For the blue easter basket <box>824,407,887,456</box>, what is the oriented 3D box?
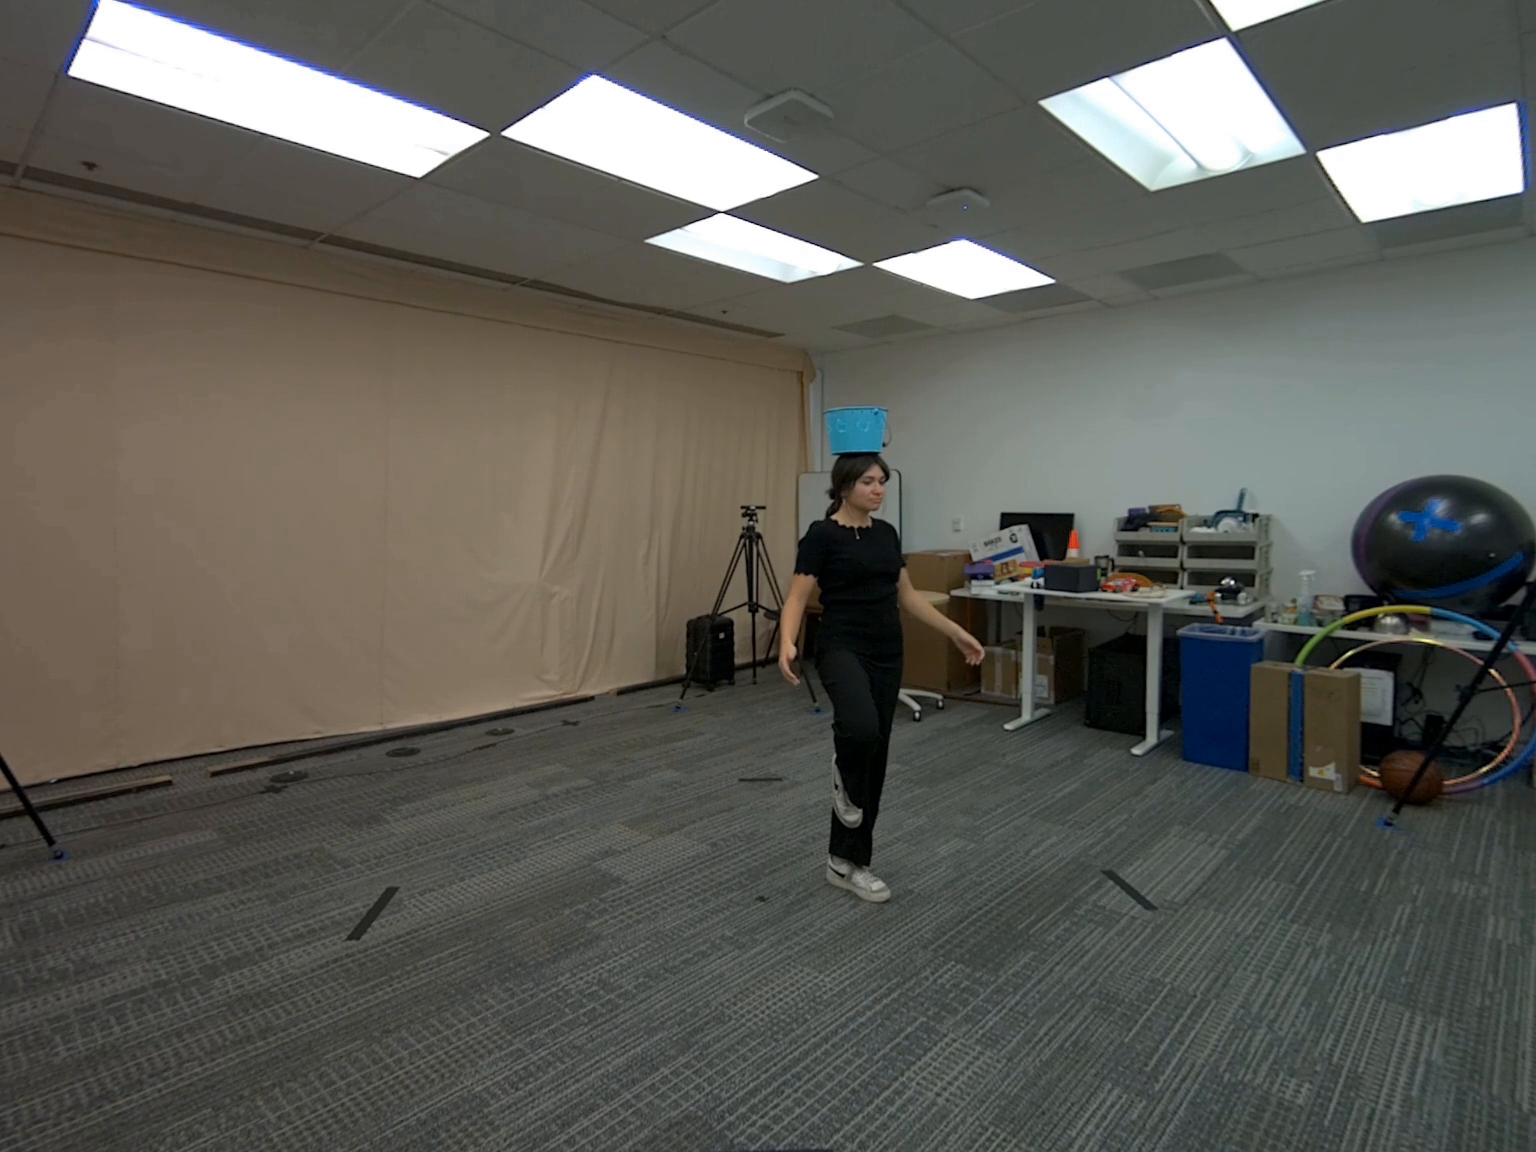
[{"bbox_3d":[0.330,-0.519,3.038,0.243,0.155,0.244,0,3,-2],"label":"blue easter basket"}]
